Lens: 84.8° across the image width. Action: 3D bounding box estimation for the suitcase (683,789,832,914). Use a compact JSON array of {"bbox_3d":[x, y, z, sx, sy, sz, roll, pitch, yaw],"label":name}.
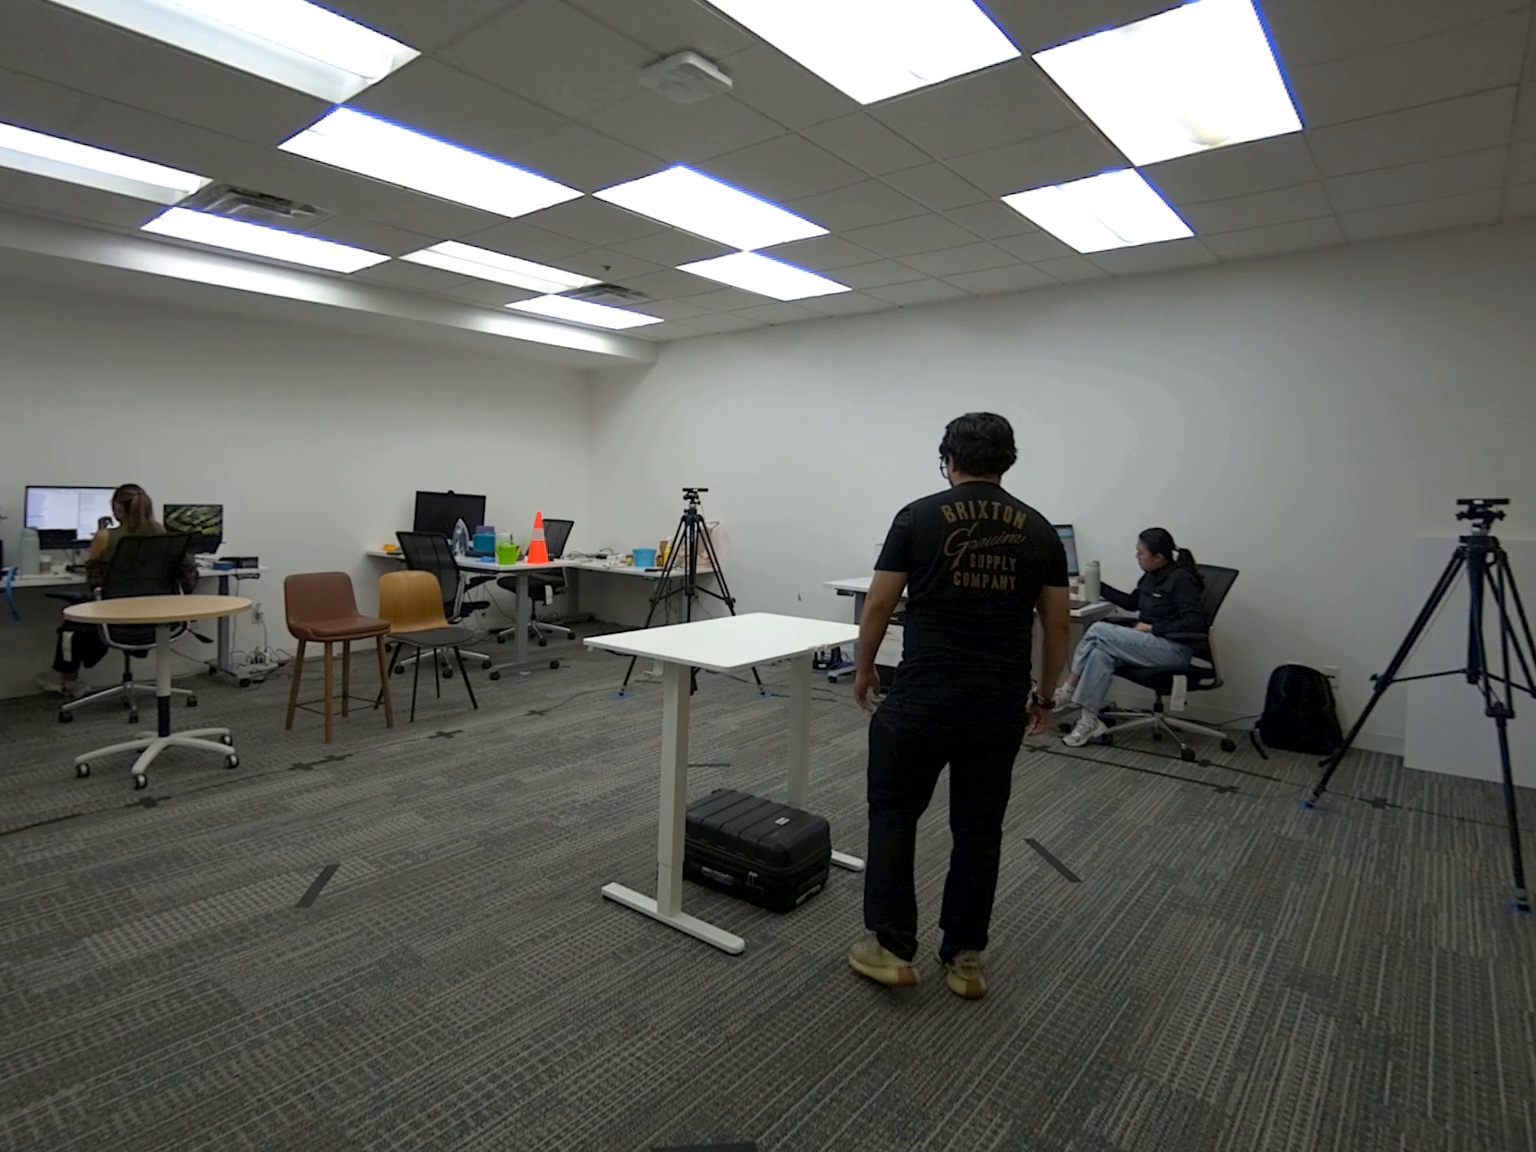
[{"bbox_3d":[-0.081,0.963,3.028,0.567,0.248,0.364,4,5,36],"label":"suitcase"}]
